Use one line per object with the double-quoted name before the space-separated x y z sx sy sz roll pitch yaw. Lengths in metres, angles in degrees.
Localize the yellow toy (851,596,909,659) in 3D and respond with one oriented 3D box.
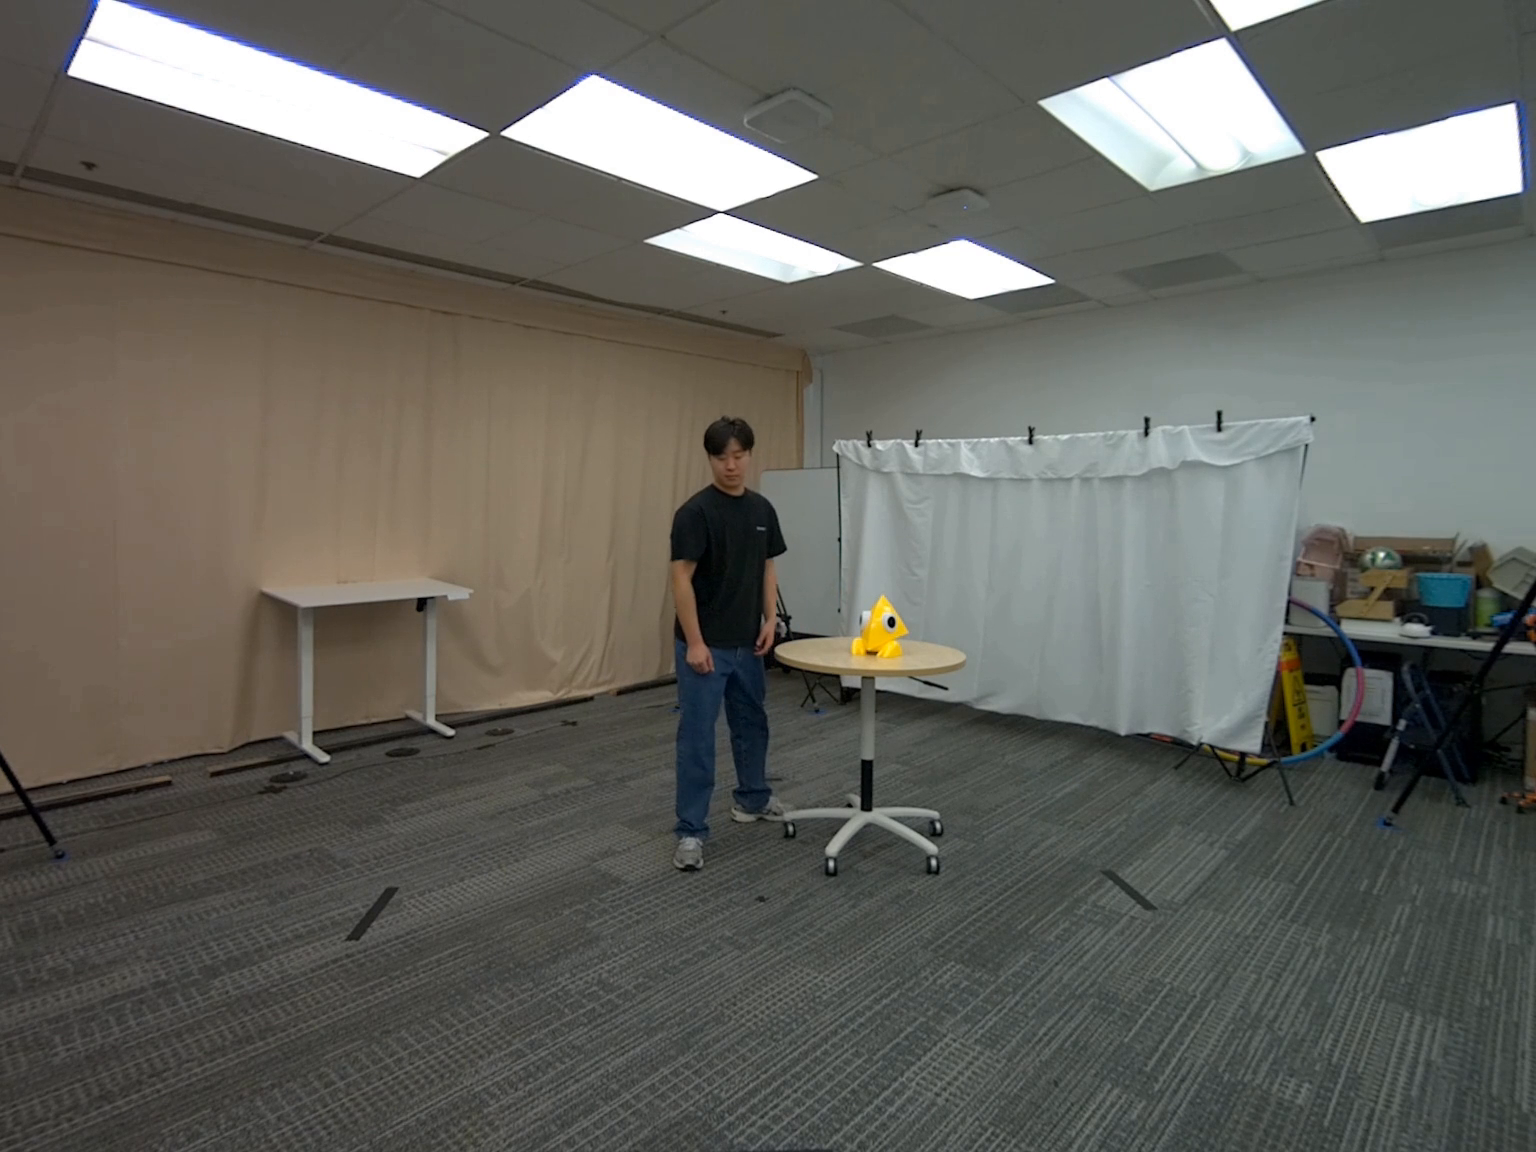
"yellow toy" 0.452 0.200 3.400 0.210 0.230 0.188 2 4 29
